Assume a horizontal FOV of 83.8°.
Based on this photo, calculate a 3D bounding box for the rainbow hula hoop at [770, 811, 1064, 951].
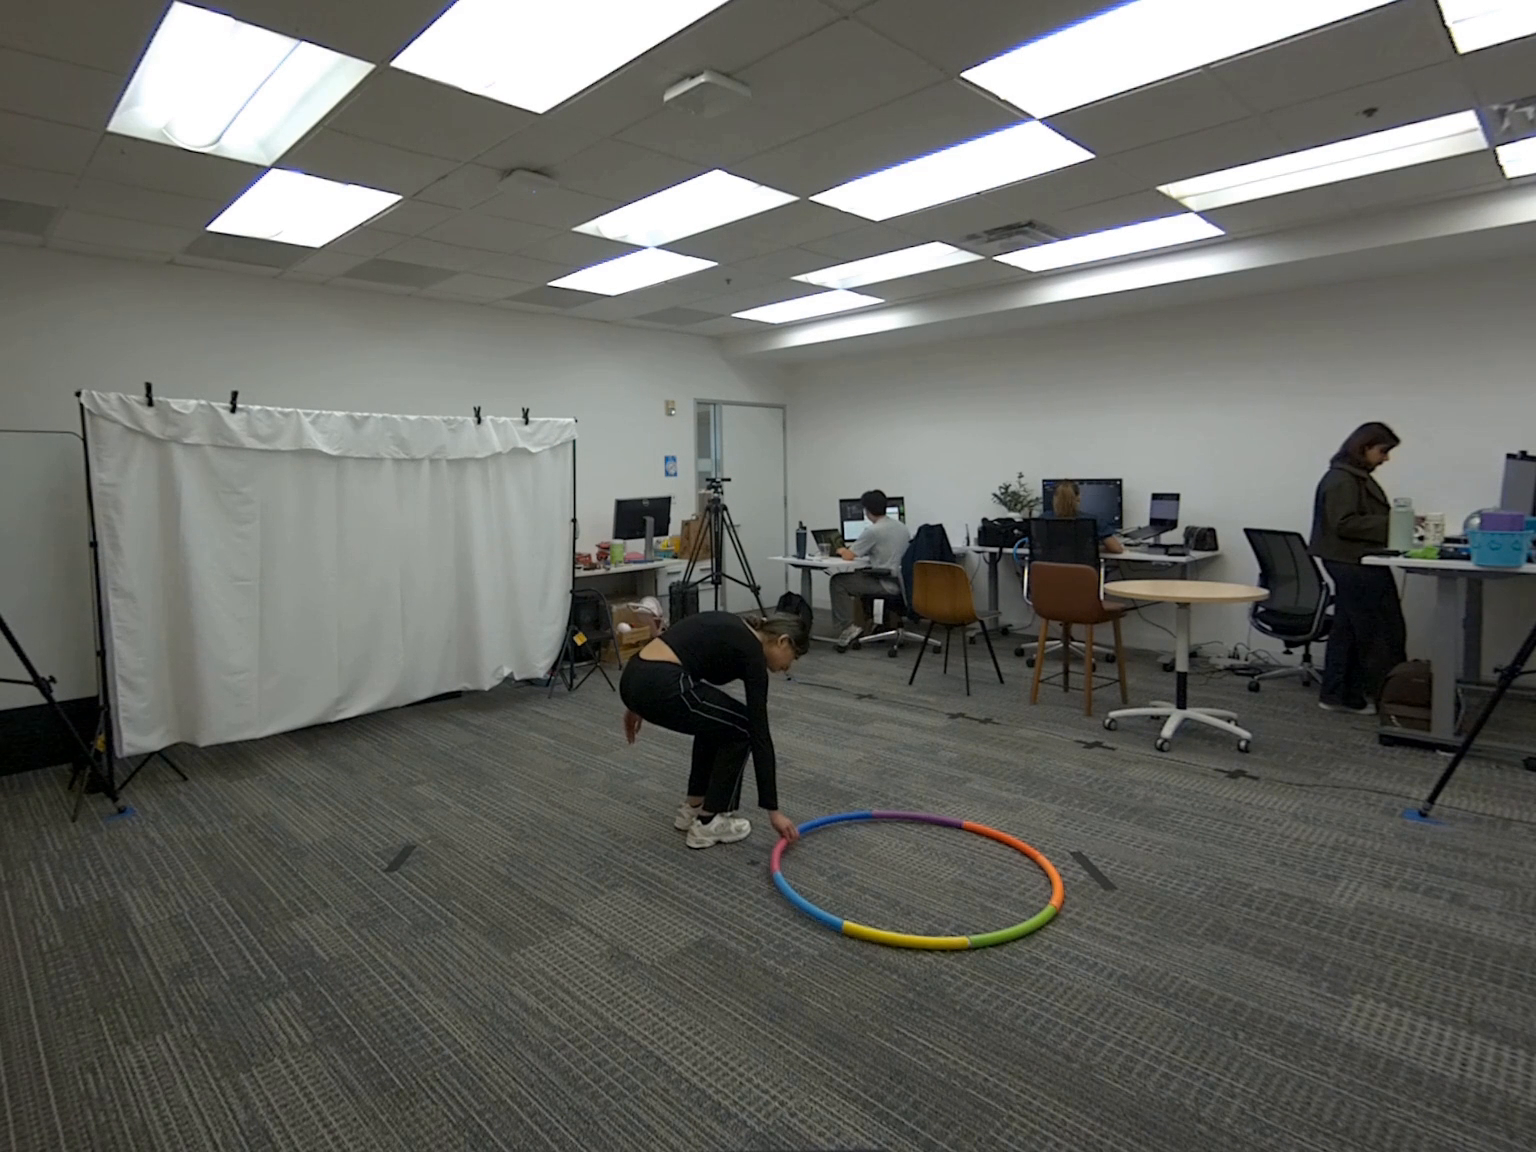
[{"bbox_3d":[0.503,1.011,2.986,0.978,0.035,0.985,-1,7,-2],"label":"rainbow hula hoop"}]
